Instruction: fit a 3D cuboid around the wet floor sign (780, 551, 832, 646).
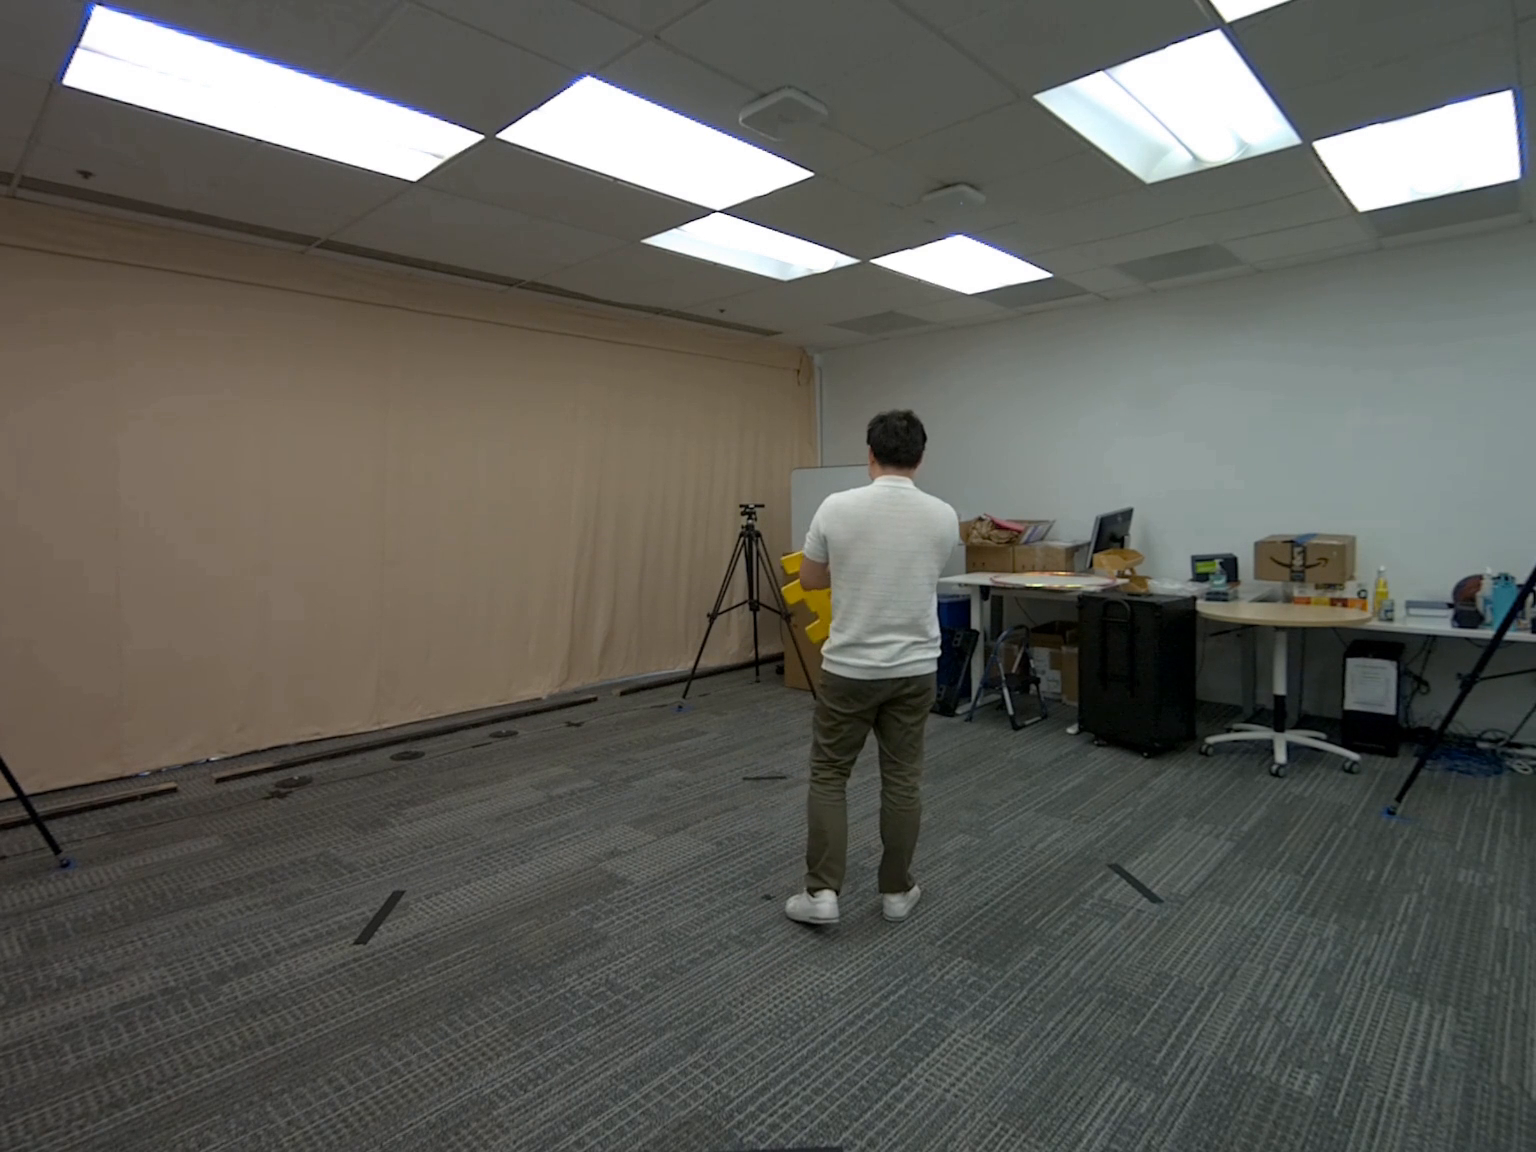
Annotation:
[{"bbox_3d":[0.391,-0.037,3.273,0.652,0.276,0.293,-28,22,15],"label":"wet floor sign"}]
